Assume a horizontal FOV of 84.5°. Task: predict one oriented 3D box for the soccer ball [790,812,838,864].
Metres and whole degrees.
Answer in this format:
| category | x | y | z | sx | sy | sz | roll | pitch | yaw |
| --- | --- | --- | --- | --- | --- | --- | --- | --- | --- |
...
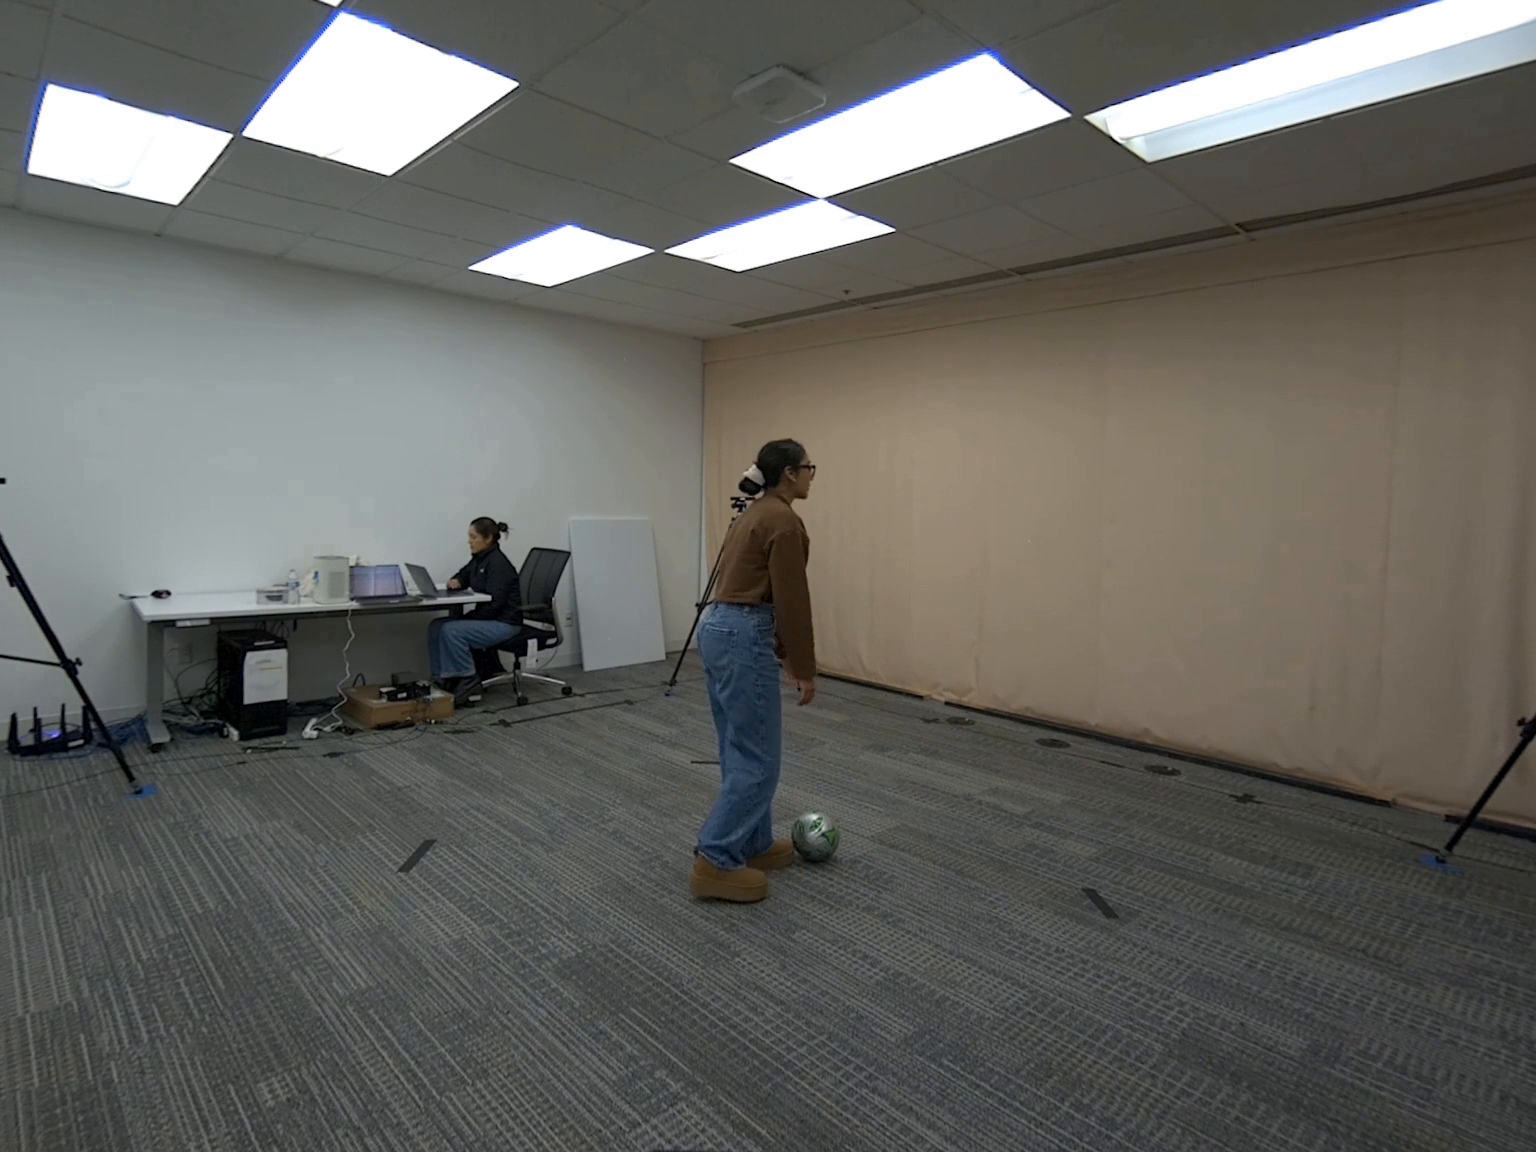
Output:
| category | x | y | z | sx | sy | sz | roll | pitch | yaw |
| --- | --- | --- | --- | --- | --- | --- | --- | --- | --- |
| soccer ball | 0.174 | 1.003 | 3.266 | 0.187 | 0.187 | 0.188 | 1 | 4 | -1 |
